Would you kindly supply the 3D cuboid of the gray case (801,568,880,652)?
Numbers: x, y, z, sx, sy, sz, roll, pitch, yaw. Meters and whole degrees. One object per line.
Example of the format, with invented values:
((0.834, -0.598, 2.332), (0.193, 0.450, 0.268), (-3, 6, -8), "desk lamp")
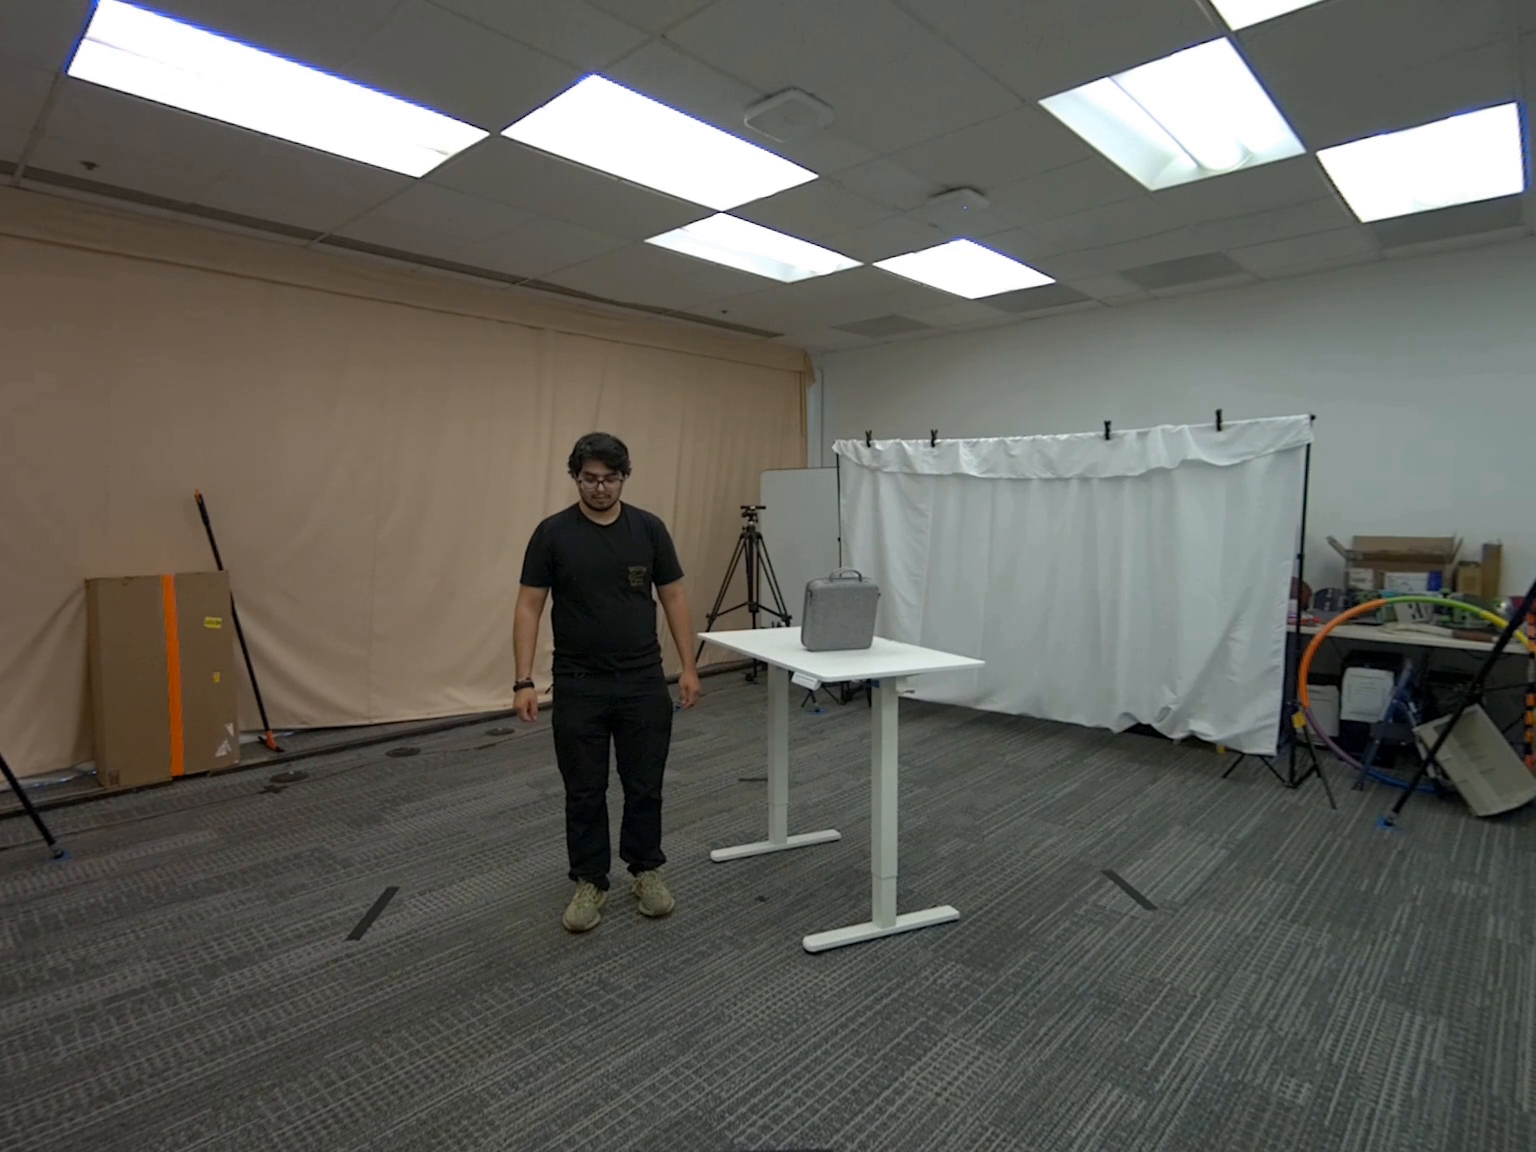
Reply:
((0.259, 0.128, 2.953), (0.252, 0.259, 0.107), (0, 11, -17), "gray case")
